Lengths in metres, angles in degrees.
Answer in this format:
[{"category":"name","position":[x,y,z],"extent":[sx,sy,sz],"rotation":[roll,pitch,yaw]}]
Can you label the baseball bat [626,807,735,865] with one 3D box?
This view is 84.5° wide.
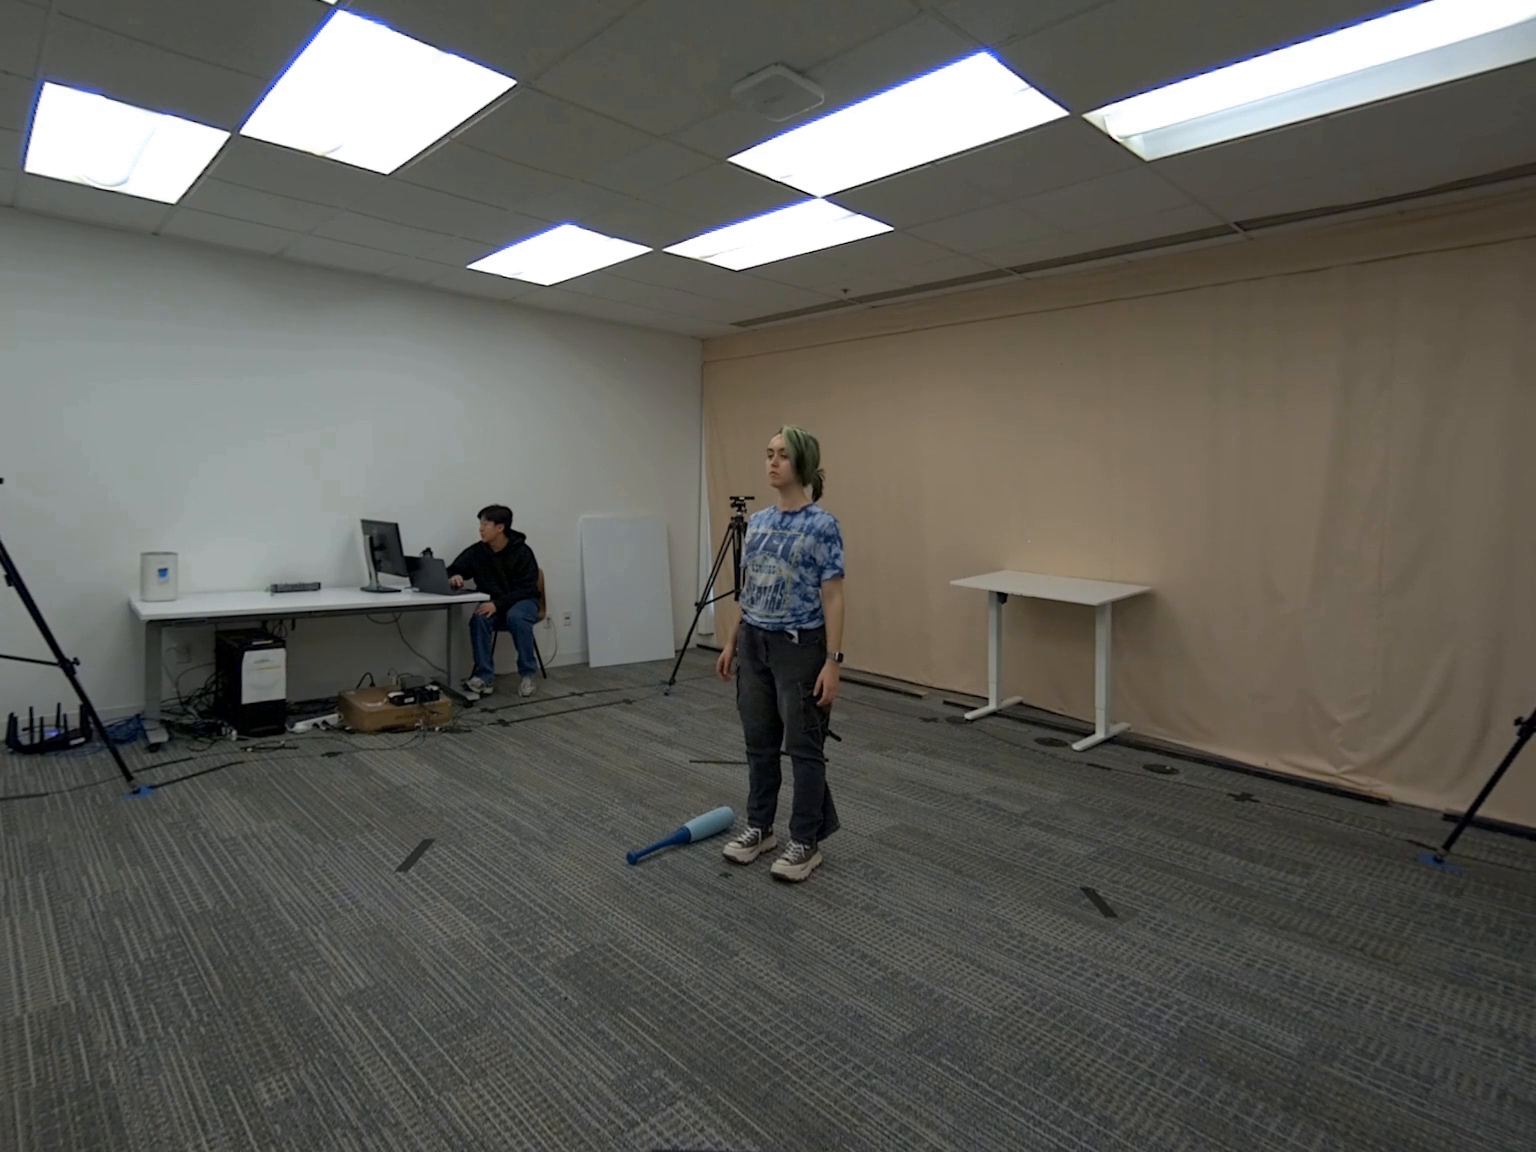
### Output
[{"category":"baseball bat","position":[-0.348,1.040,3.363],"extent":[0.091,0.088,0.532],"rotation":[5,10,42]}]
